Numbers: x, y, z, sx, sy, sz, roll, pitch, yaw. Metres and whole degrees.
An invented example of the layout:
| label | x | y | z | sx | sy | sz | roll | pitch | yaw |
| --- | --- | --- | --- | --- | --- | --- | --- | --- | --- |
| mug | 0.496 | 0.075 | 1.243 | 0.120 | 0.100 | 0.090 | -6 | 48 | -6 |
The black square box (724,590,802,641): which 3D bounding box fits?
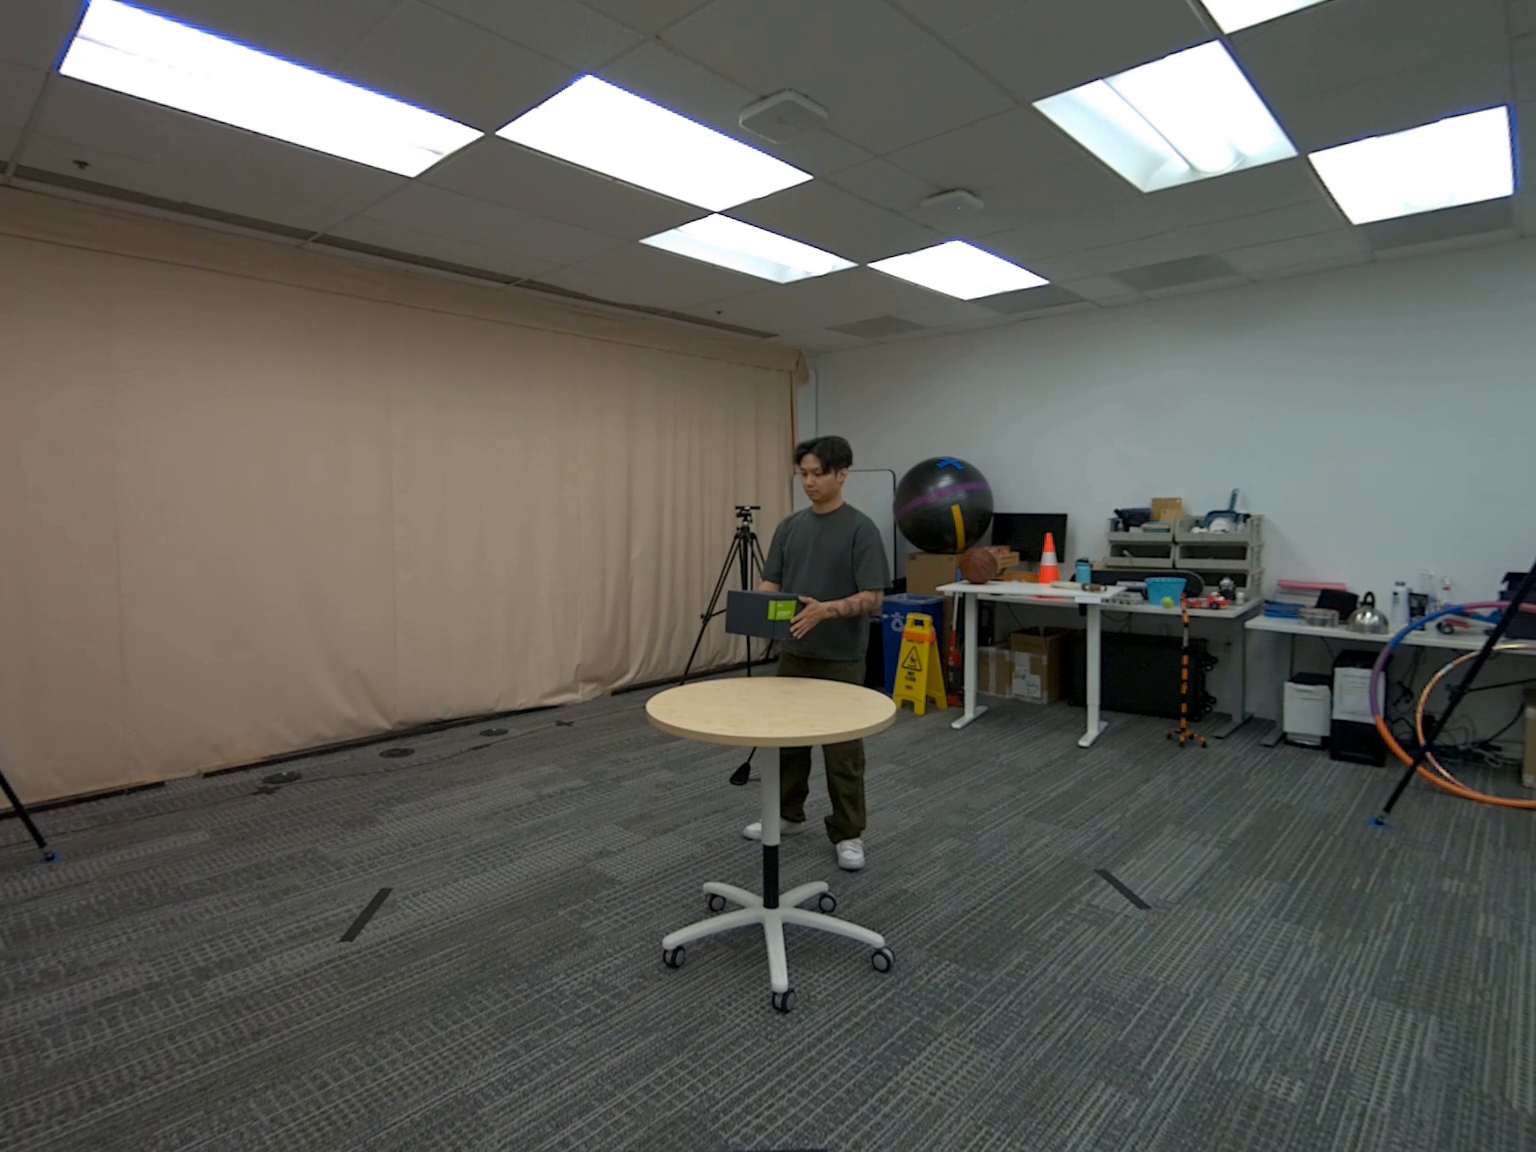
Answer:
| label | x | y | z | sx | sy | sz | roll | pitch | yaw |
| --- | --- | --- | --- | --- | --- | --- | --- | --- | --- |
| black square box | -0.009 | 0.135 | 3.063 | 0.224 | 0.156 | 0.221 | 5 | 1 | 33 |
